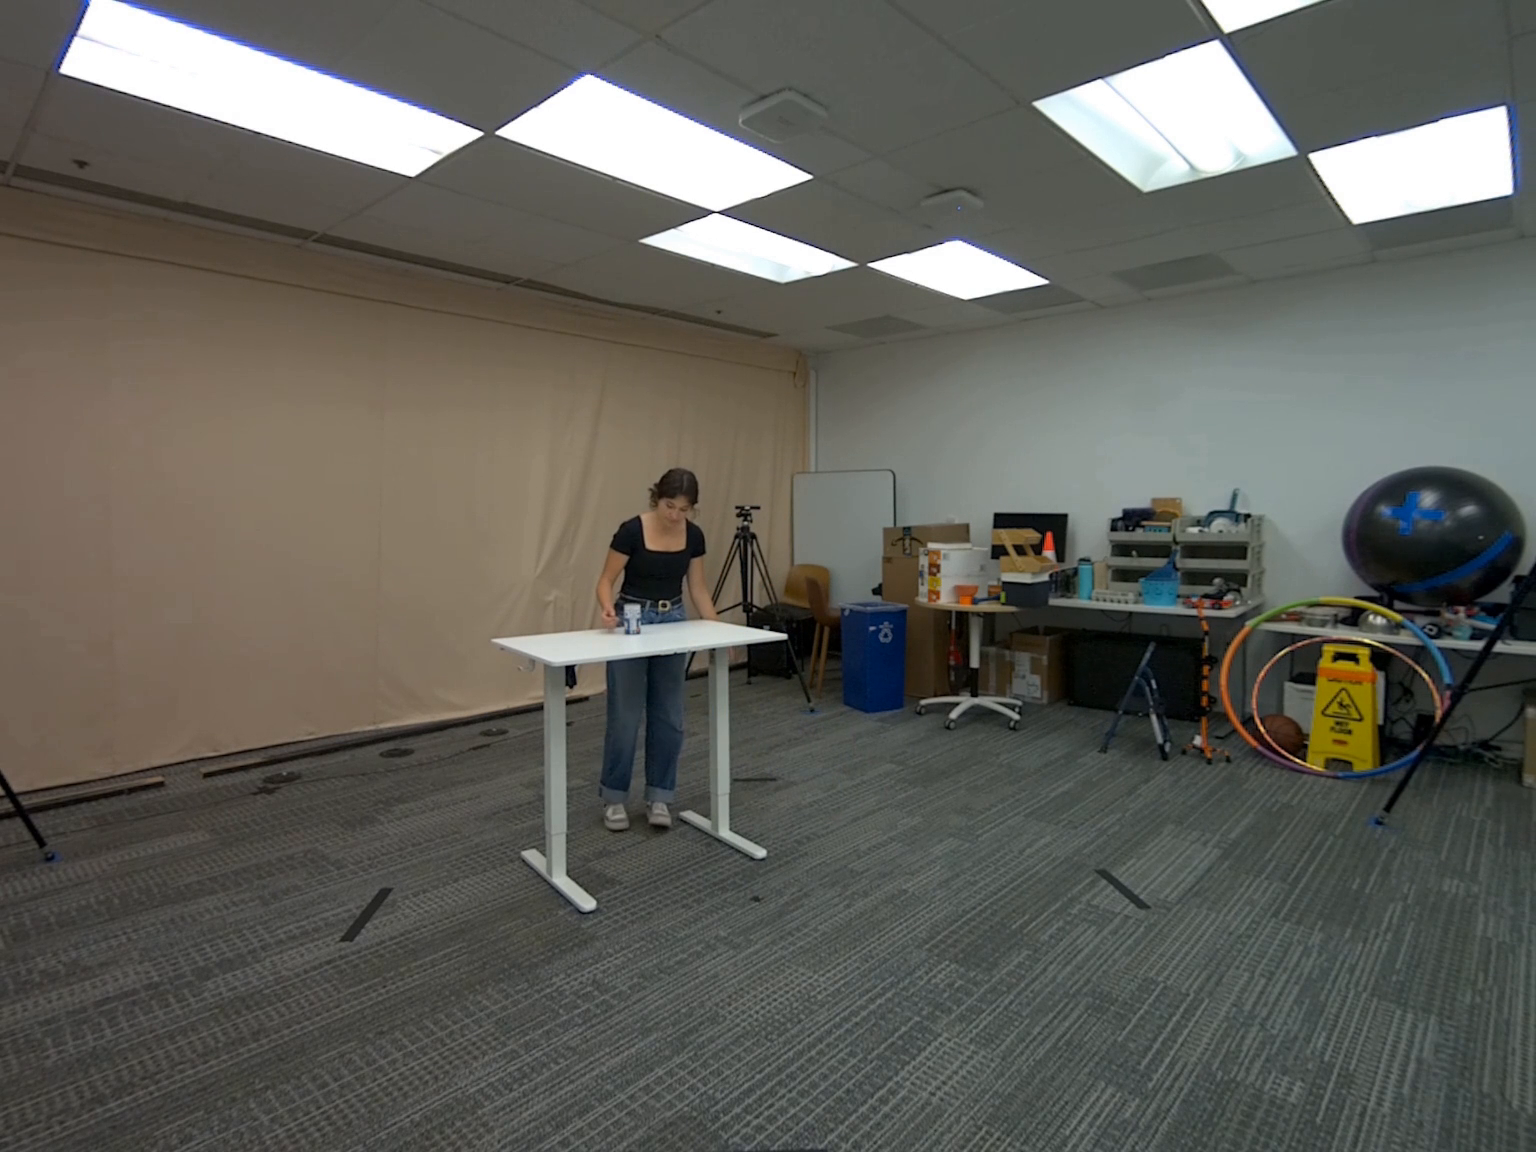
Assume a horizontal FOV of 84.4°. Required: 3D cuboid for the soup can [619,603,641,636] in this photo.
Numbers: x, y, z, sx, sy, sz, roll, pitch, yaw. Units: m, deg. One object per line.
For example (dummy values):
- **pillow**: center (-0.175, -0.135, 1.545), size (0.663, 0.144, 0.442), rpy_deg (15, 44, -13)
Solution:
- **soup can**: center (-0.549, 0.174, 3.389), size (0.067, 0.121, 0.067), rpy_deg (-2, 3, -2)
